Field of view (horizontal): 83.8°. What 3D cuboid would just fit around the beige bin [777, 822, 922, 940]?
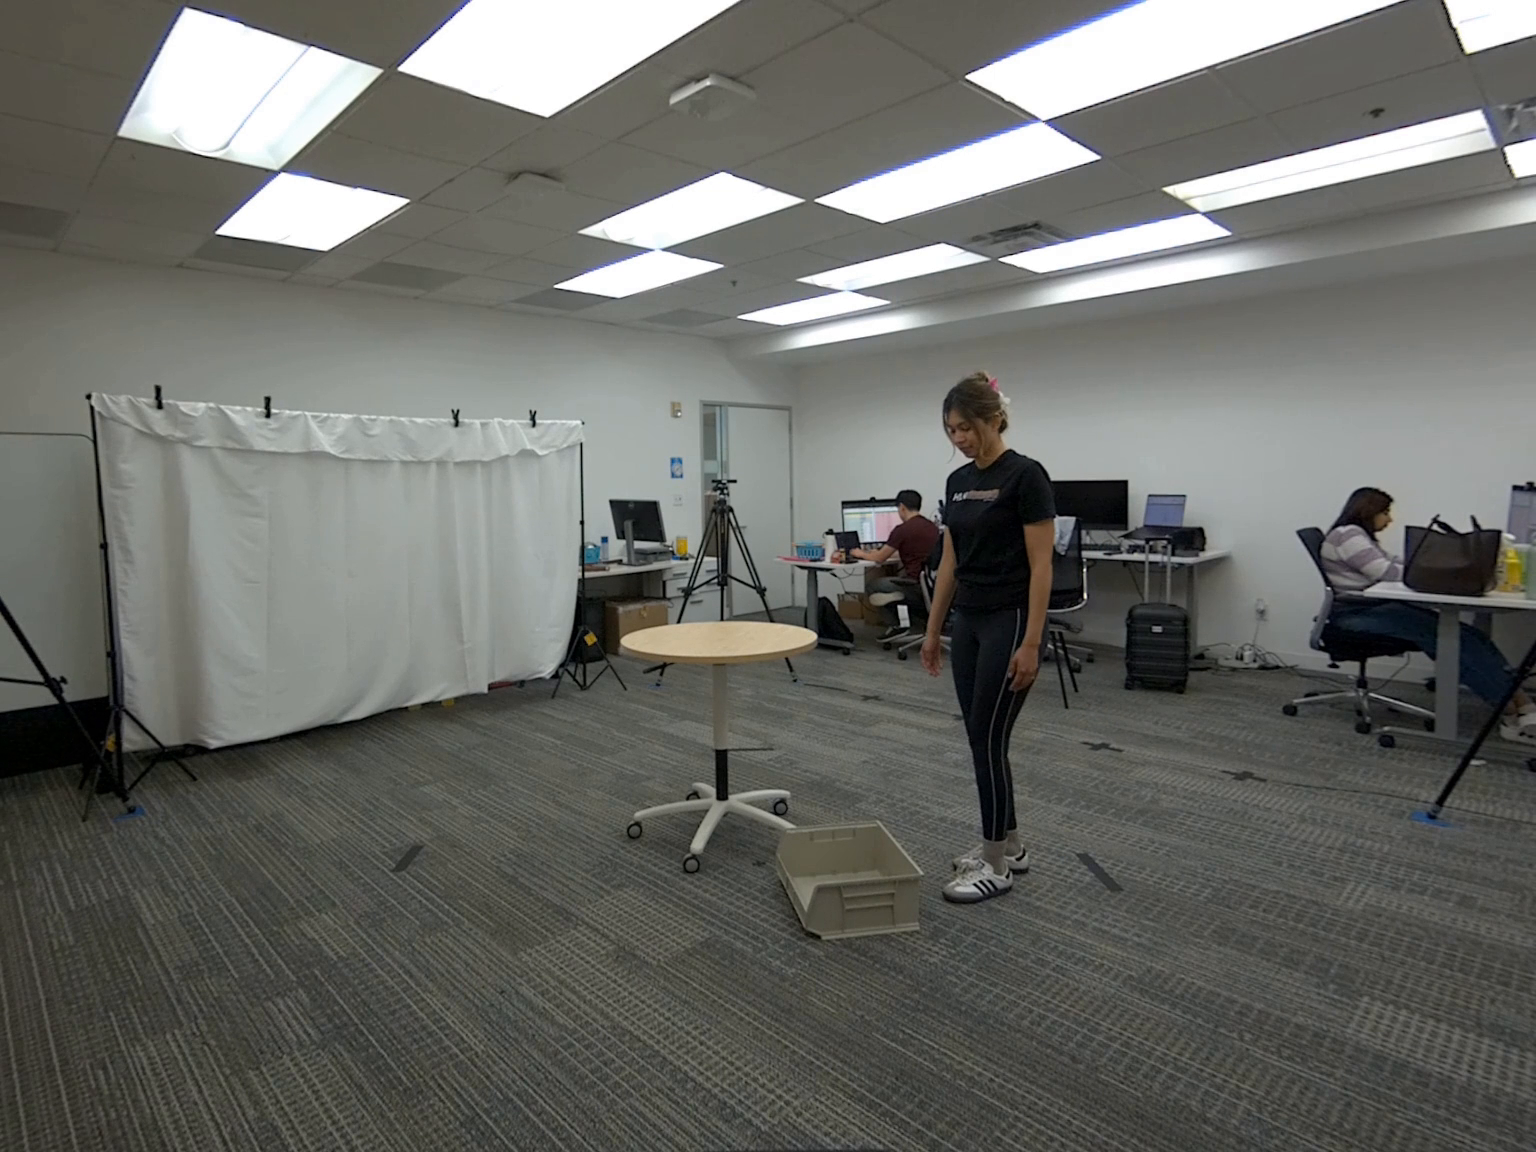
[{"bbox_3d":[0.251,0.998,2.796,0.374,0.188,0.428,-2,6,-11],"label":"beige bin"}]
